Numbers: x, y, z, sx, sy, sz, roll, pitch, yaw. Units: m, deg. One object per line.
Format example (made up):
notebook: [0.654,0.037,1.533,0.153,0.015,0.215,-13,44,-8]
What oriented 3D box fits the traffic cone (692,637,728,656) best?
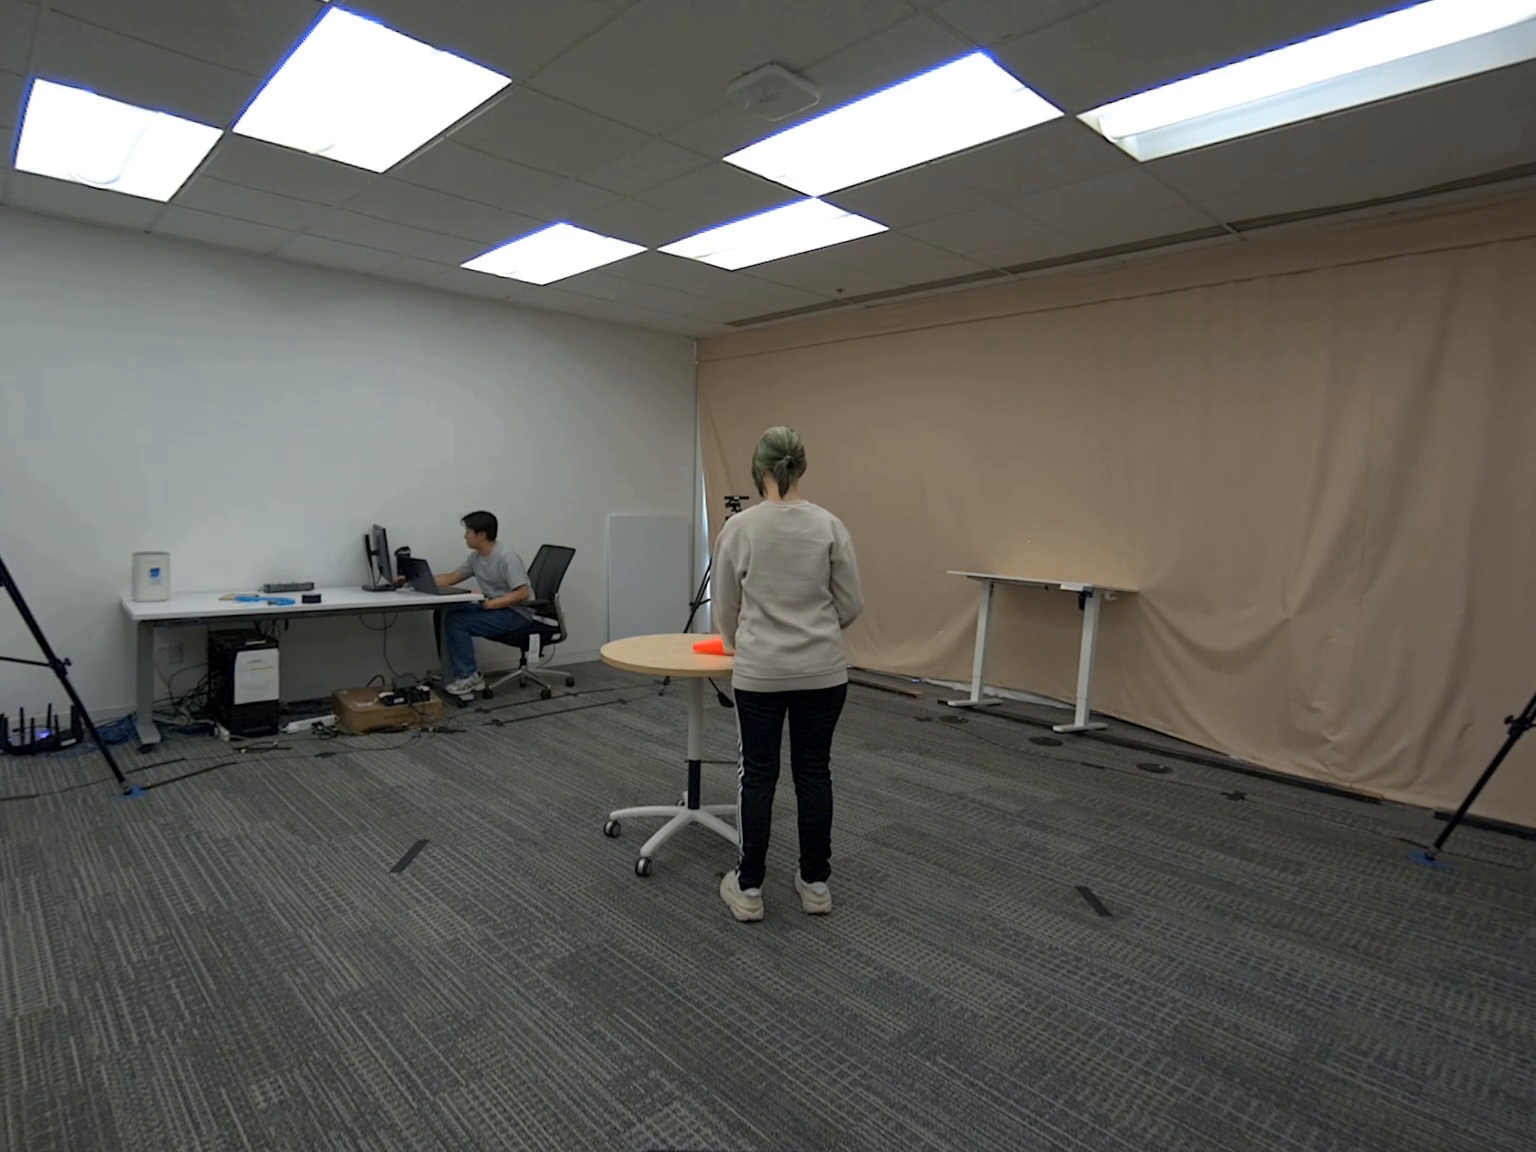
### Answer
traffic cone: [-0.102,0.269,3.271,0.387,0.209,0.197,-9,-36,11]
